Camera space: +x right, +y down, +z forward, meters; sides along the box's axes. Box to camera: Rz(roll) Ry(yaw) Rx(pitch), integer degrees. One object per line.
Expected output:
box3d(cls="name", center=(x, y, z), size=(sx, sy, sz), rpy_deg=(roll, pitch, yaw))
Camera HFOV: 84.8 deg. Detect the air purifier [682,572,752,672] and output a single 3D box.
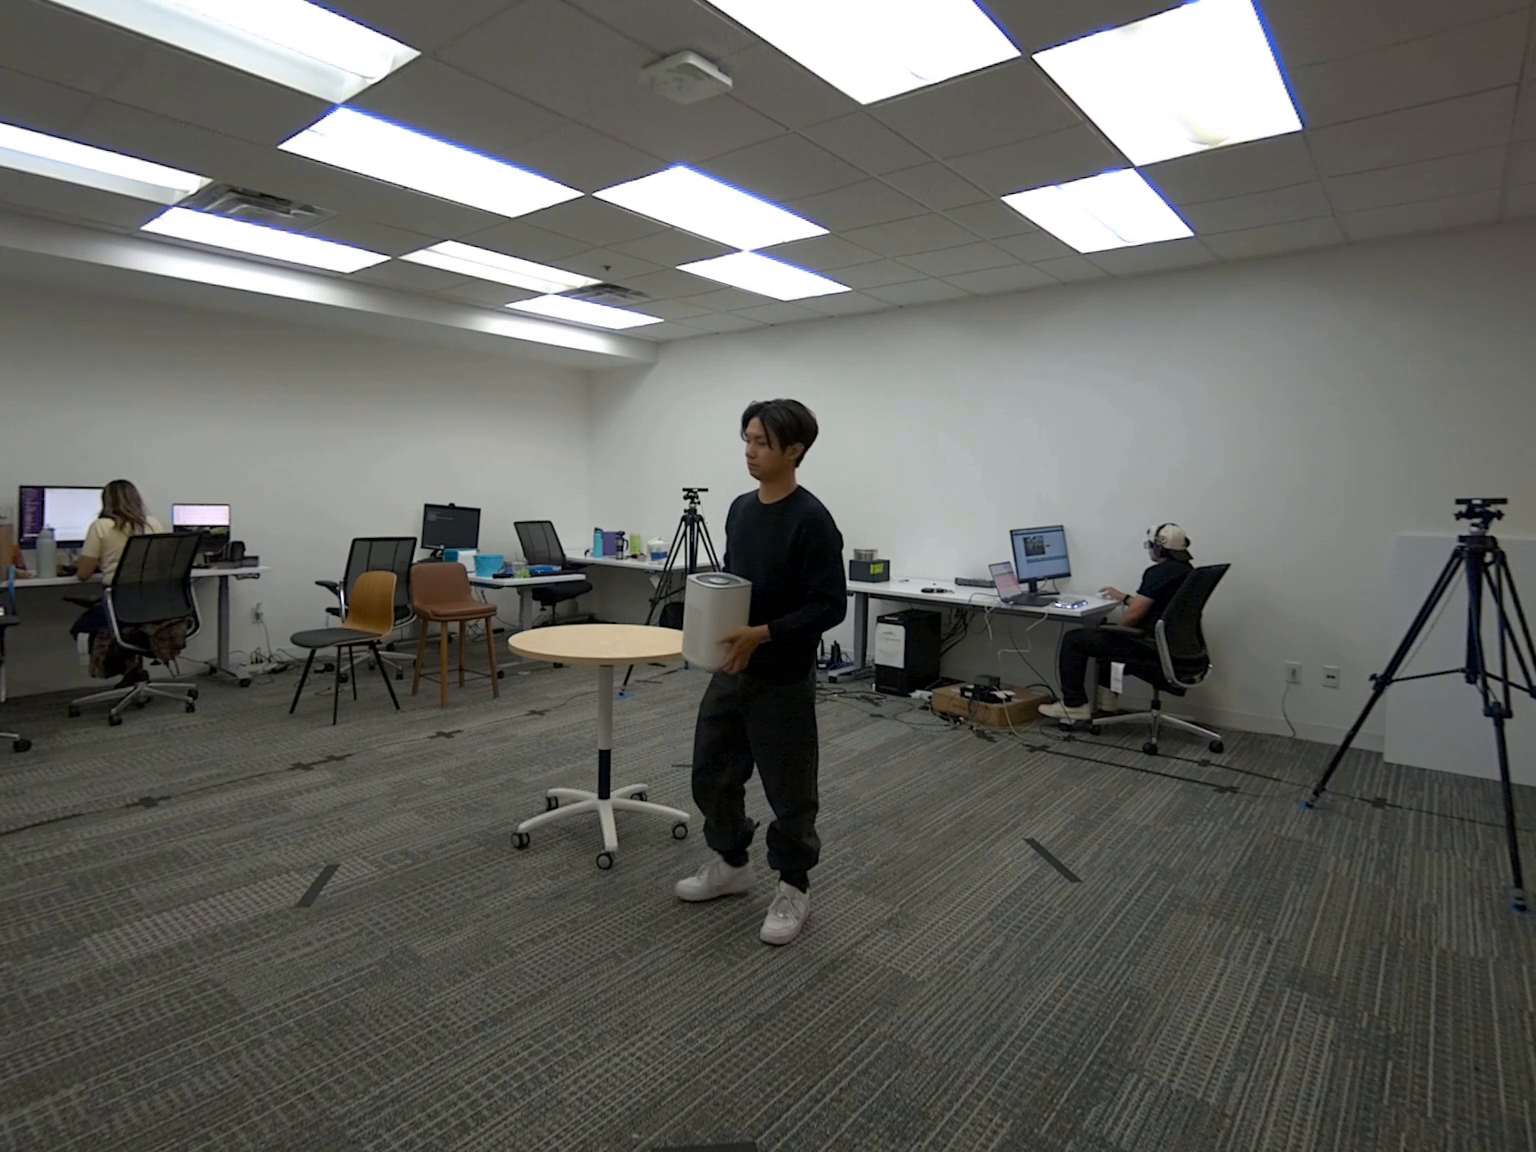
box3d(cls="air purifier", center=(-0.167, 0.133, 2.590), size=(0.166, 0.263, 0.178), rpy_deg=(-2, 12, -34))
